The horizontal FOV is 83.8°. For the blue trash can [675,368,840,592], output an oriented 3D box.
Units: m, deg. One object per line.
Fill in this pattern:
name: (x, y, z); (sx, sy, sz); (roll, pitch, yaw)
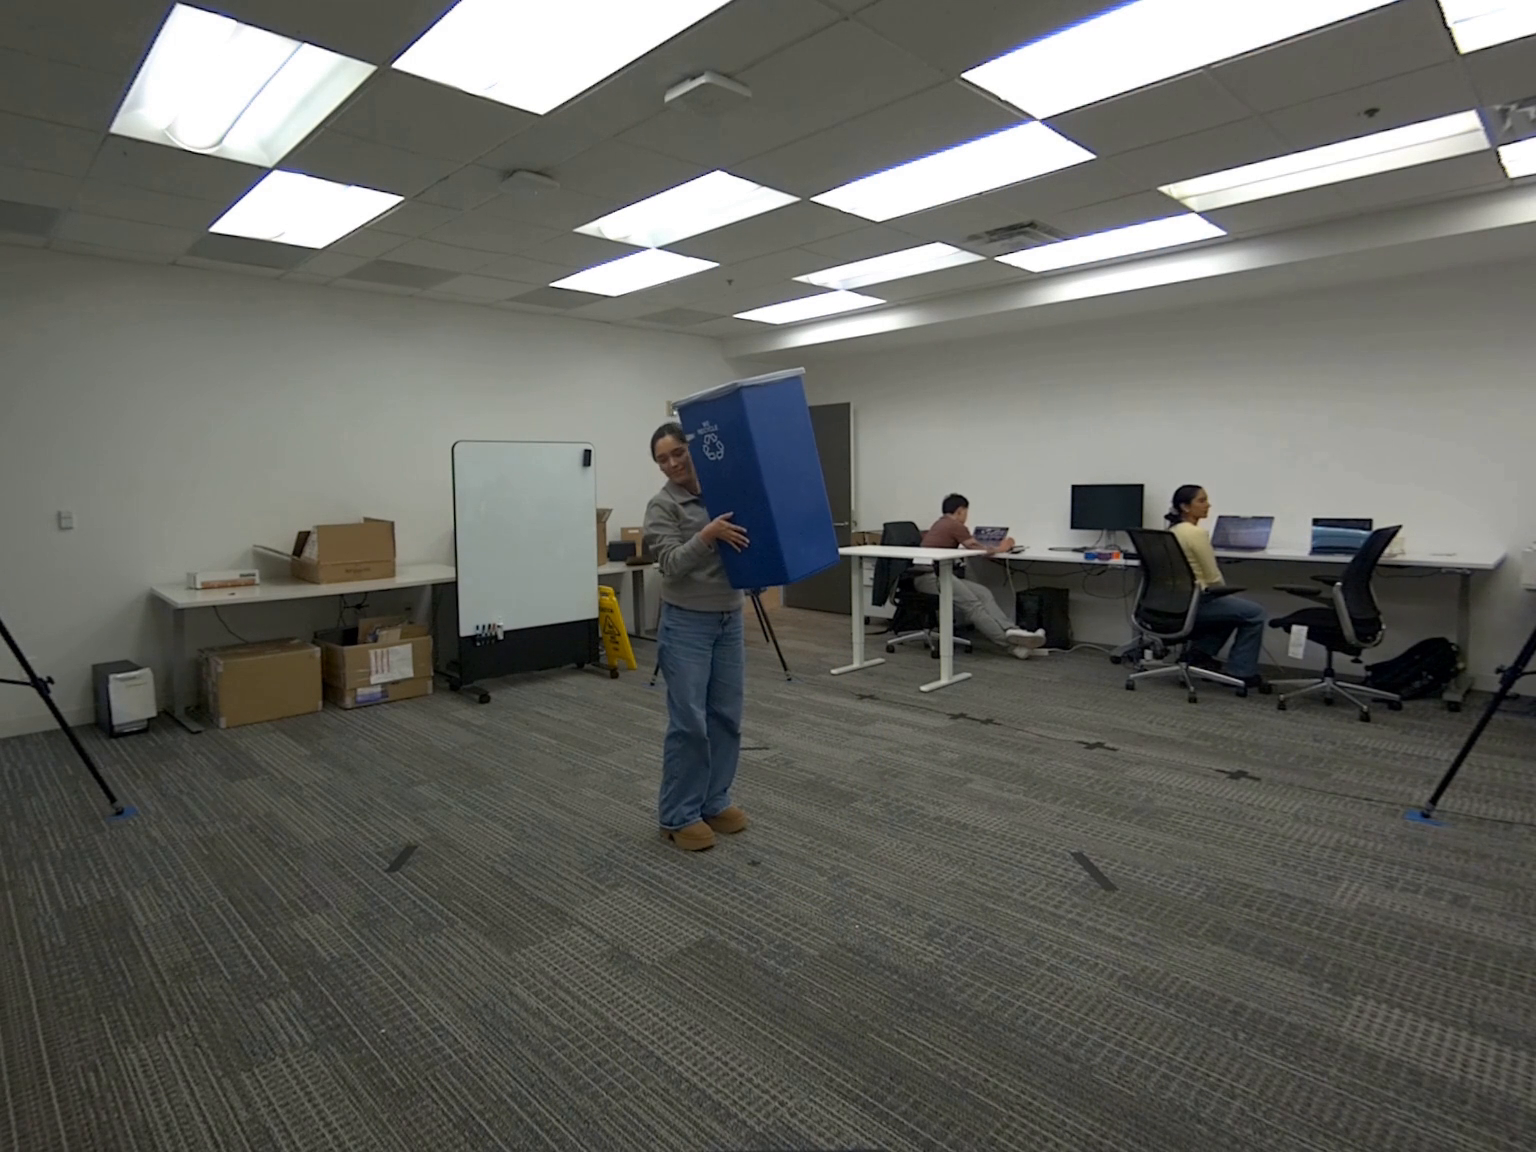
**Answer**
blue trash can: (-0.019, -0.350, 3.089); (0.383, 0.708, 0.371); (-8, 10, 46)
